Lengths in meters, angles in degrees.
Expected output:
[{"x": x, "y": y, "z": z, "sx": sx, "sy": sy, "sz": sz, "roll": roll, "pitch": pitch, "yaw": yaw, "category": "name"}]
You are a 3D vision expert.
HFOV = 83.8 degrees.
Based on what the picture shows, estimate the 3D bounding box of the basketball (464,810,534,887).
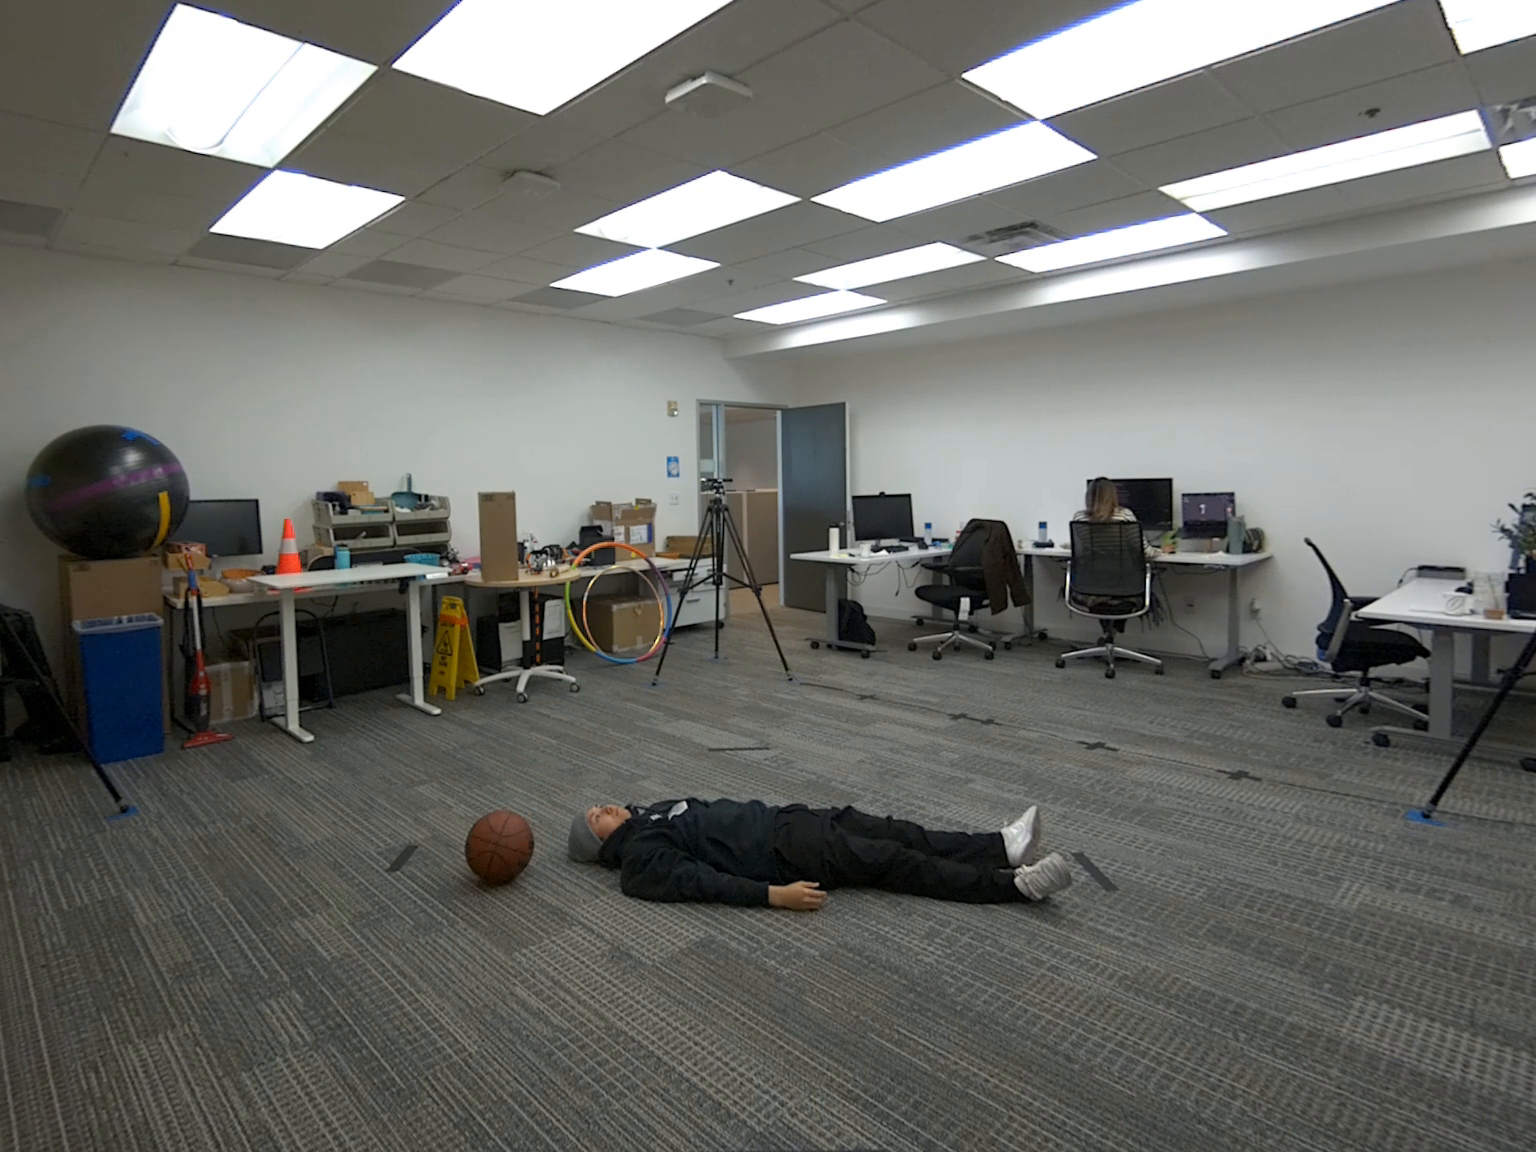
[{"x": -0.945, "y": 0.954, "z": 3.018, "sx": 0.236, "sy": 0.235, "sz": 0.237, "roll": -1, "pitch": 5, "yaw": -2, "category": "basketball"}]
